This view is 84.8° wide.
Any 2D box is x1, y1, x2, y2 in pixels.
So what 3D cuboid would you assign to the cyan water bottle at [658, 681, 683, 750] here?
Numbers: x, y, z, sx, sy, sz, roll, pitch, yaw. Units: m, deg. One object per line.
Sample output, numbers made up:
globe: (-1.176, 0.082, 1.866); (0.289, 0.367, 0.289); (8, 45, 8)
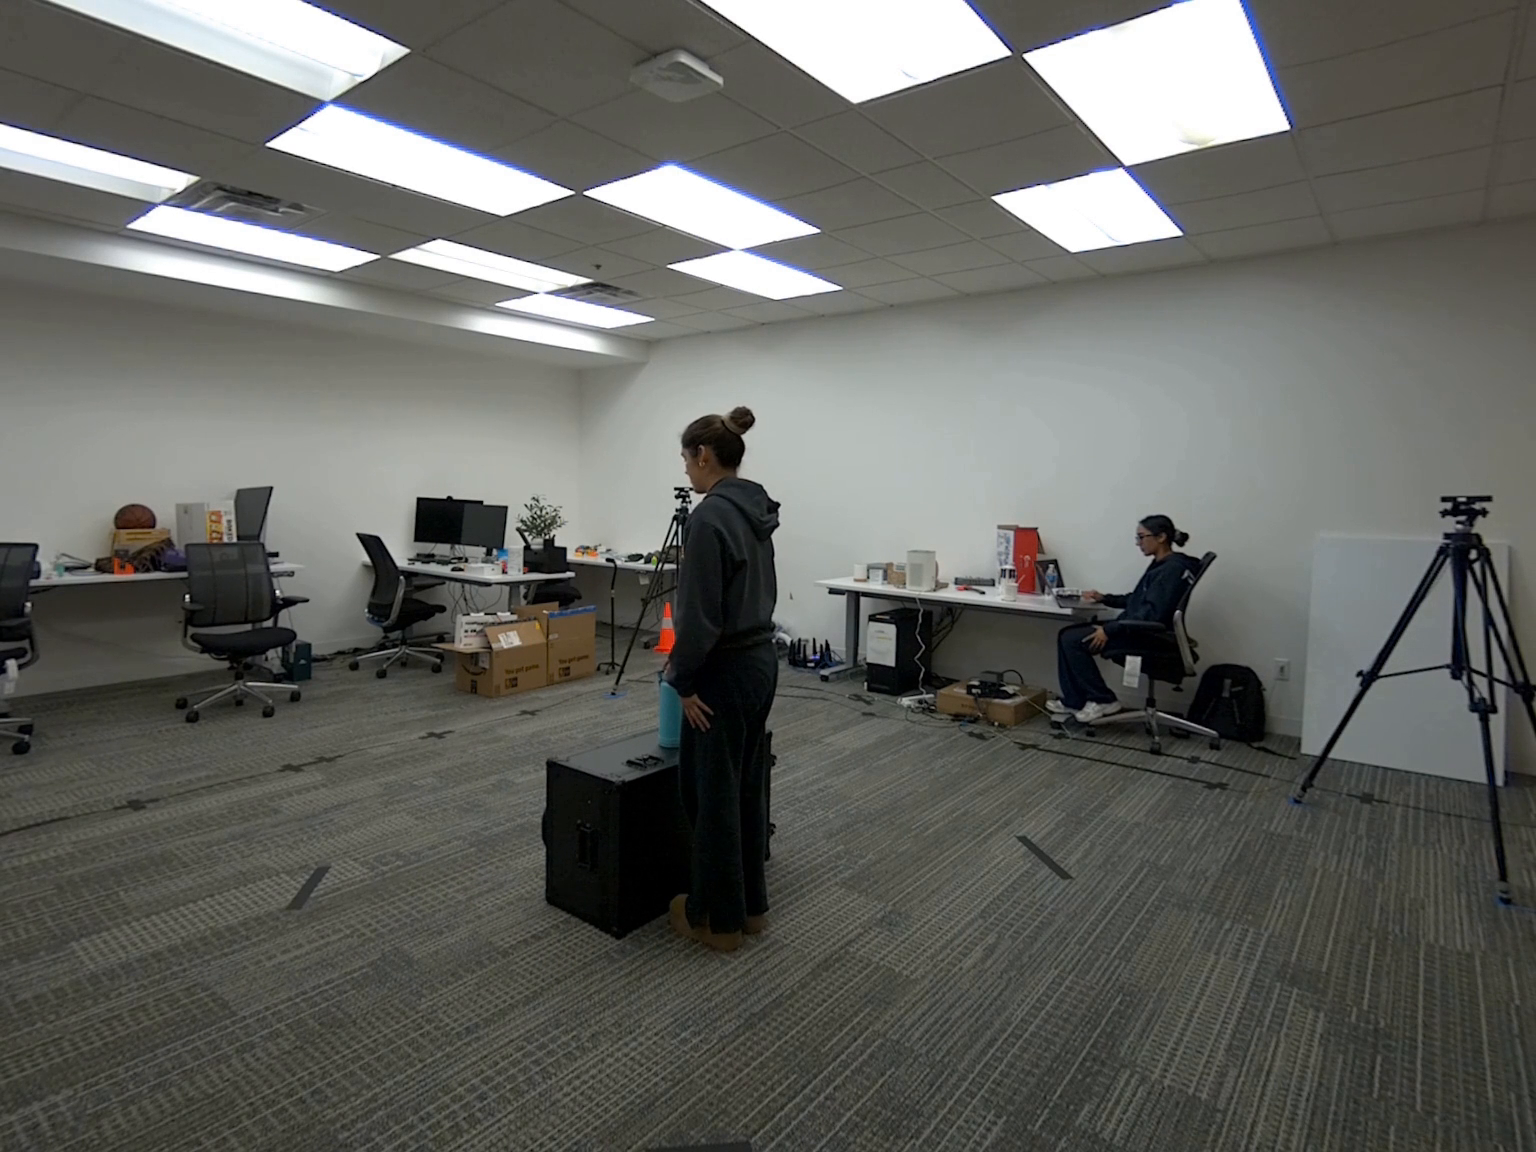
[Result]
cyan water bottle: (-0.344, 0.458, 3.009); (0.092, 0.282, 0.093); (-3, 4, -2)
